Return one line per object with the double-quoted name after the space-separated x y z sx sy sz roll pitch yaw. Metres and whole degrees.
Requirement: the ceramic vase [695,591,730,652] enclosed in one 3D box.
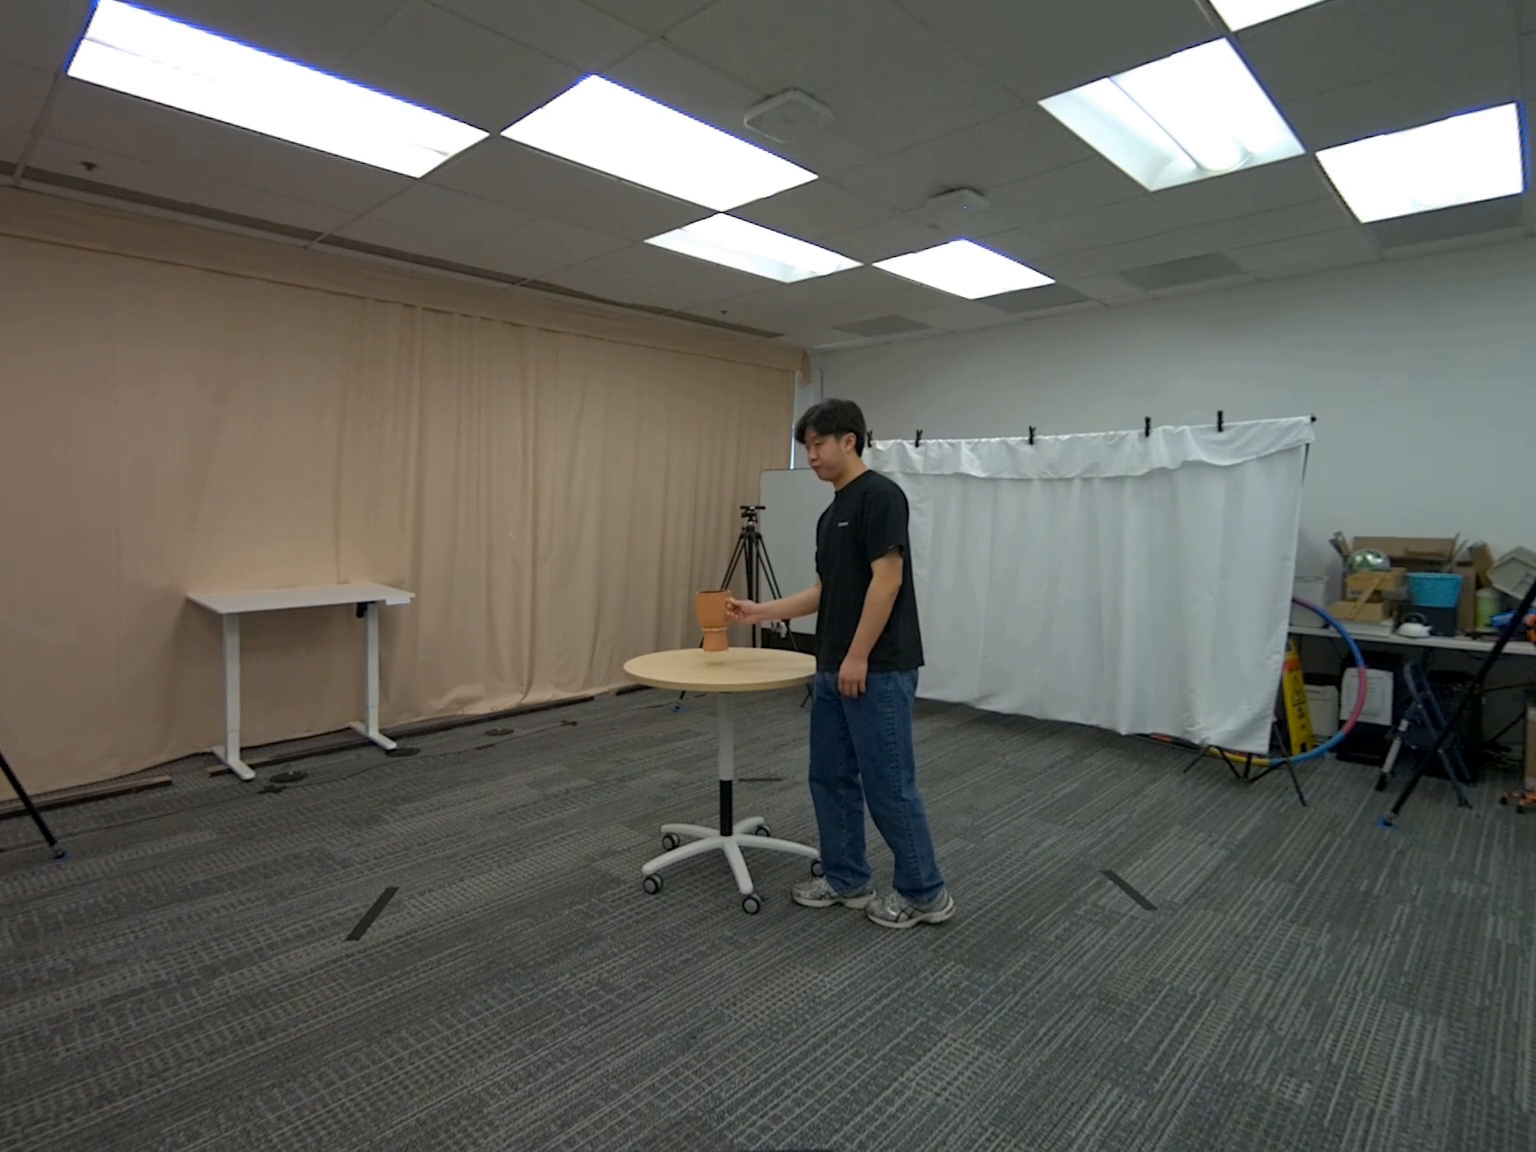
-0.208 0.173 3.168 0.132 0.219 0.162 -3 3 -17 "ceramic vase"
